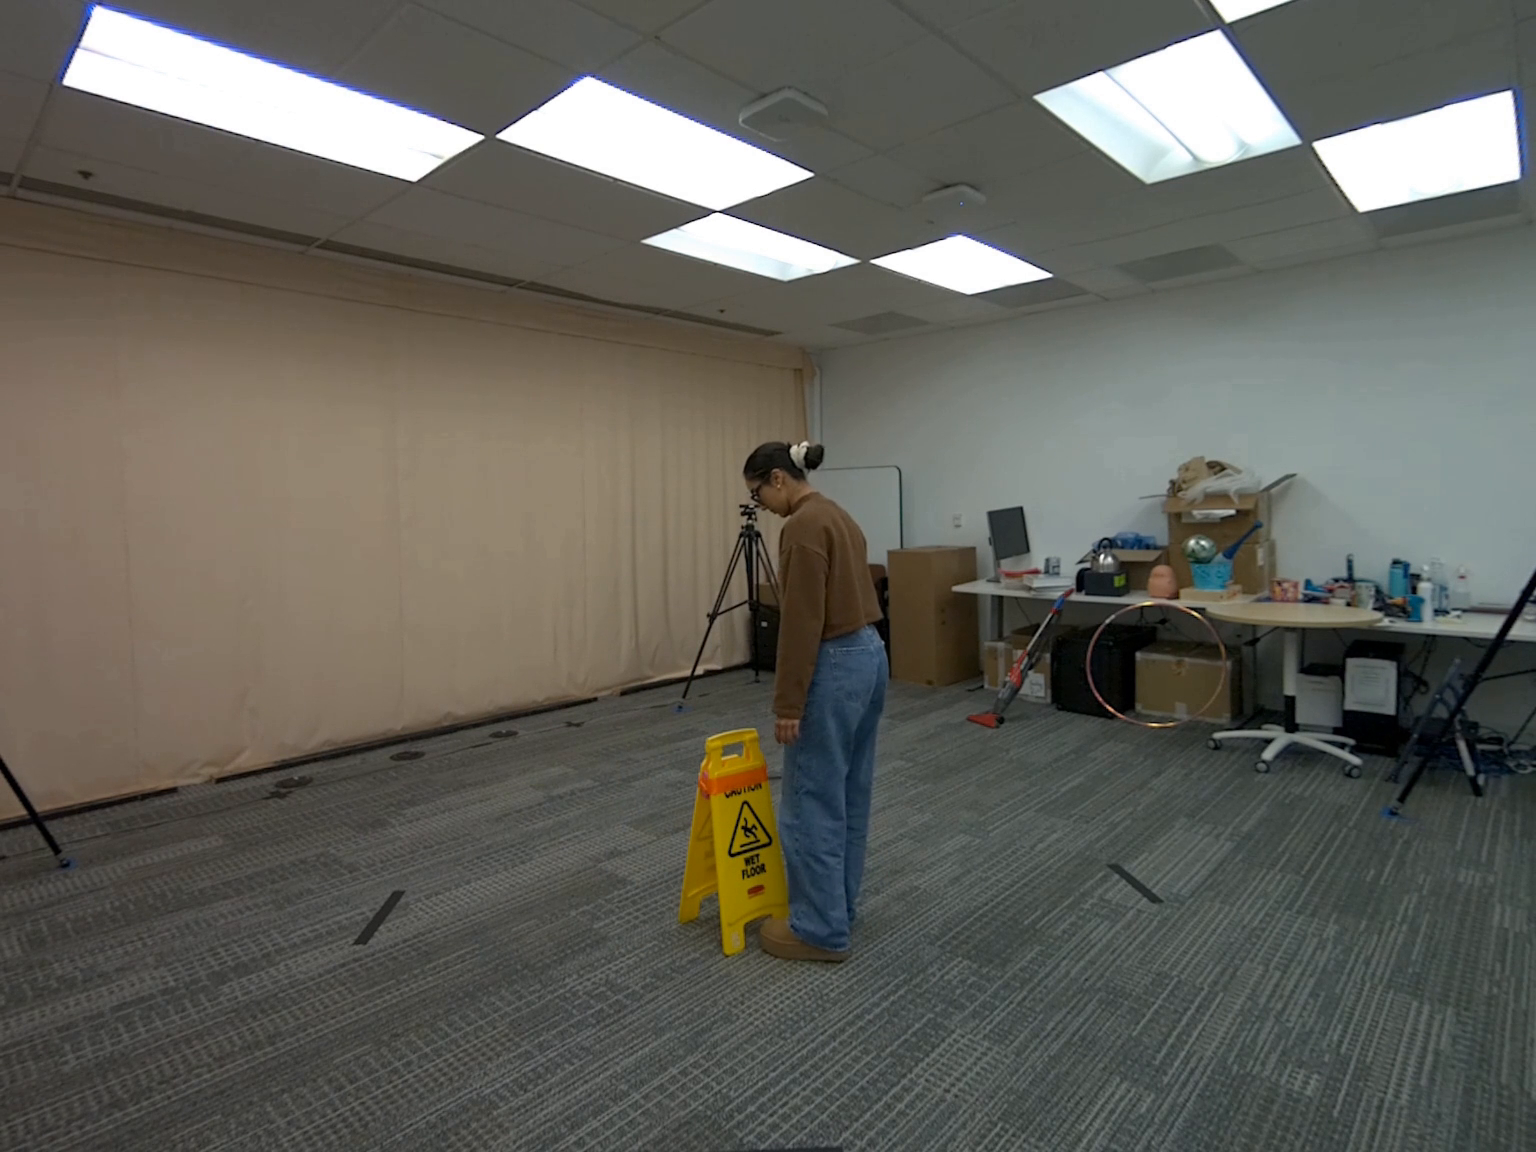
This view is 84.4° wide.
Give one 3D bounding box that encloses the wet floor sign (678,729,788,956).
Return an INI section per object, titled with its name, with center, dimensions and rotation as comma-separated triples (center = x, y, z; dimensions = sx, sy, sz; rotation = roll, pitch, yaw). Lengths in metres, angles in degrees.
[wet floor sign]
center = -0.112, 0.839, 2.773
dimensions = 0.274, 0.645, 0.299
rotation = -3, 4, -37
